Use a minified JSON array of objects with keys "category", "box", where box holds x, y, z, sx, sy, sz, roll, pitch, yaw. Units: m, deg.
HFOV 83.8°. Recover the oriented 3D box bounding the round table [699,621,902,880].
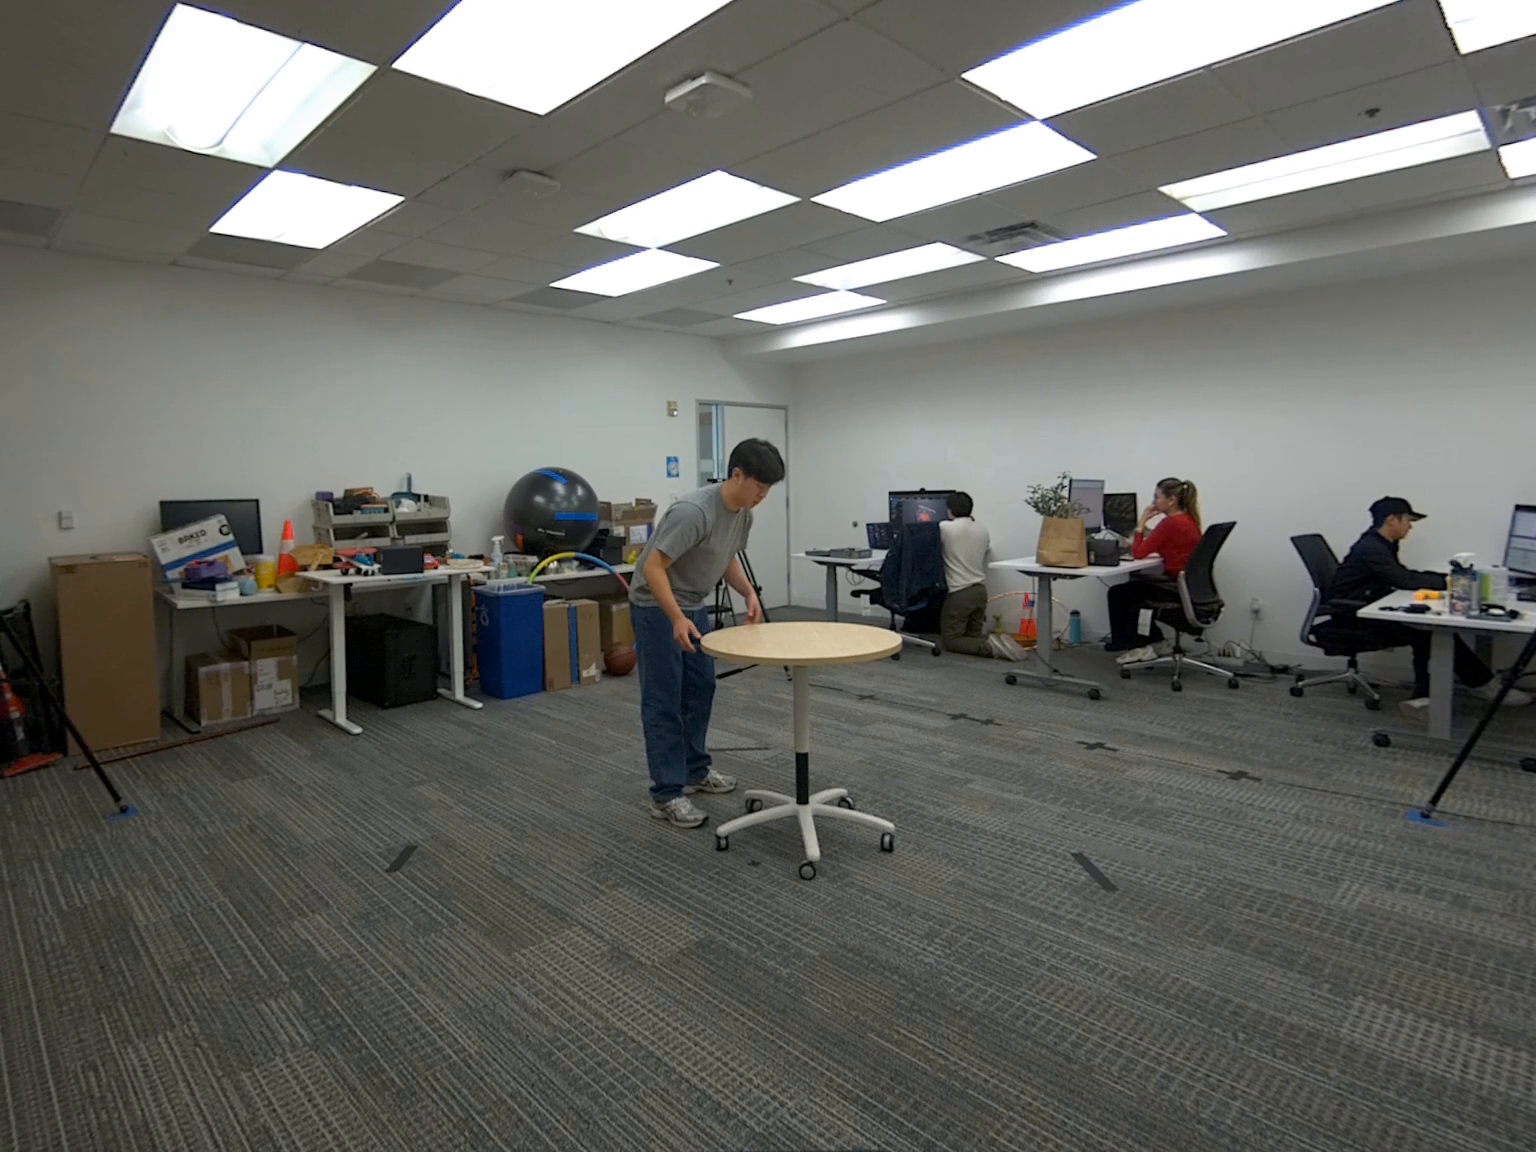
[{"category":"round table","box":[0.135,0.630,3.296,0.763,0.791,0.768,-1,5,-2]}]
